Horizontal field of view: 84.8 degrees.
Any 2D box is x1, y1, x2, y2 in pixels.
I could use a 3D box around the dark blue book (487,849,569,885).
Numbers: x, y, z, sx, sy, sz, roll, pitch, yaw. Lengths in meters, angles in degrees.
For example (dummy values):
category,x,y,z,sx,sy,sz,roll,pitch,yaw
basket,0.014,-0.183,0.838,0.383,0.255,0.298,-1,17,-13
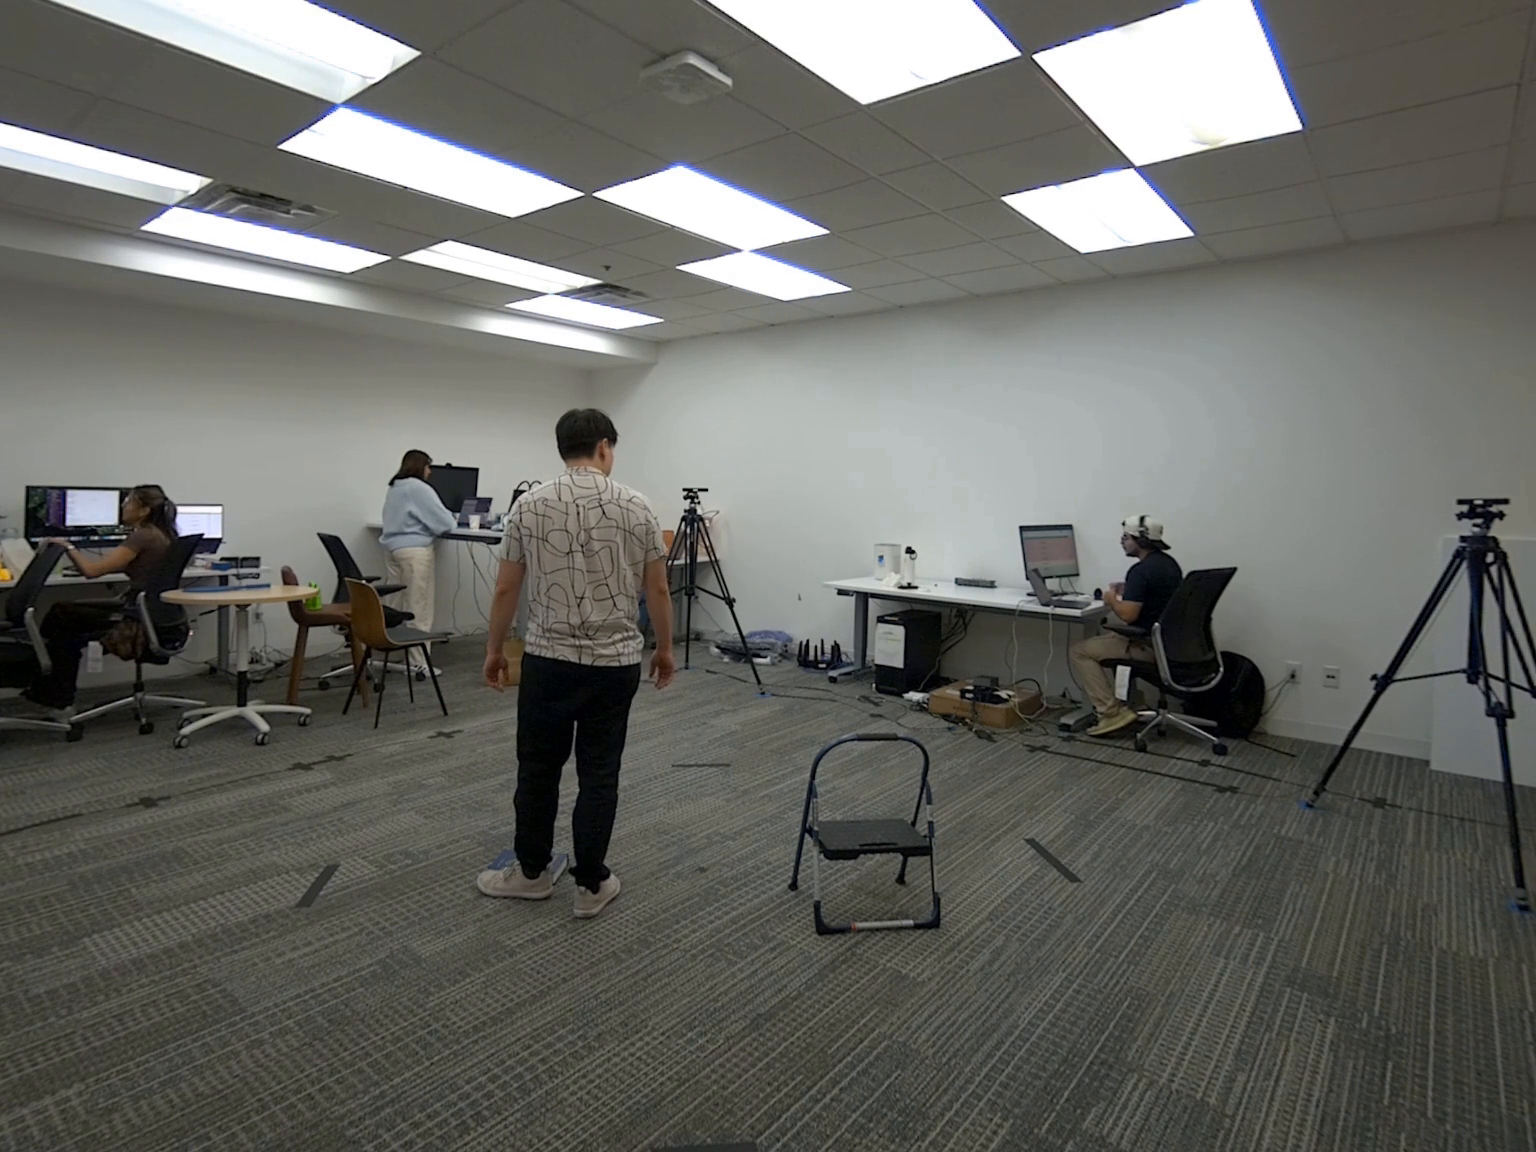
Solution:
category,x,y,z,sx,sy,sz,roll,pitch,yaw
dark blue book,-0.867,1.039,3.047,0.247,0.045,0.163,2,7,6
